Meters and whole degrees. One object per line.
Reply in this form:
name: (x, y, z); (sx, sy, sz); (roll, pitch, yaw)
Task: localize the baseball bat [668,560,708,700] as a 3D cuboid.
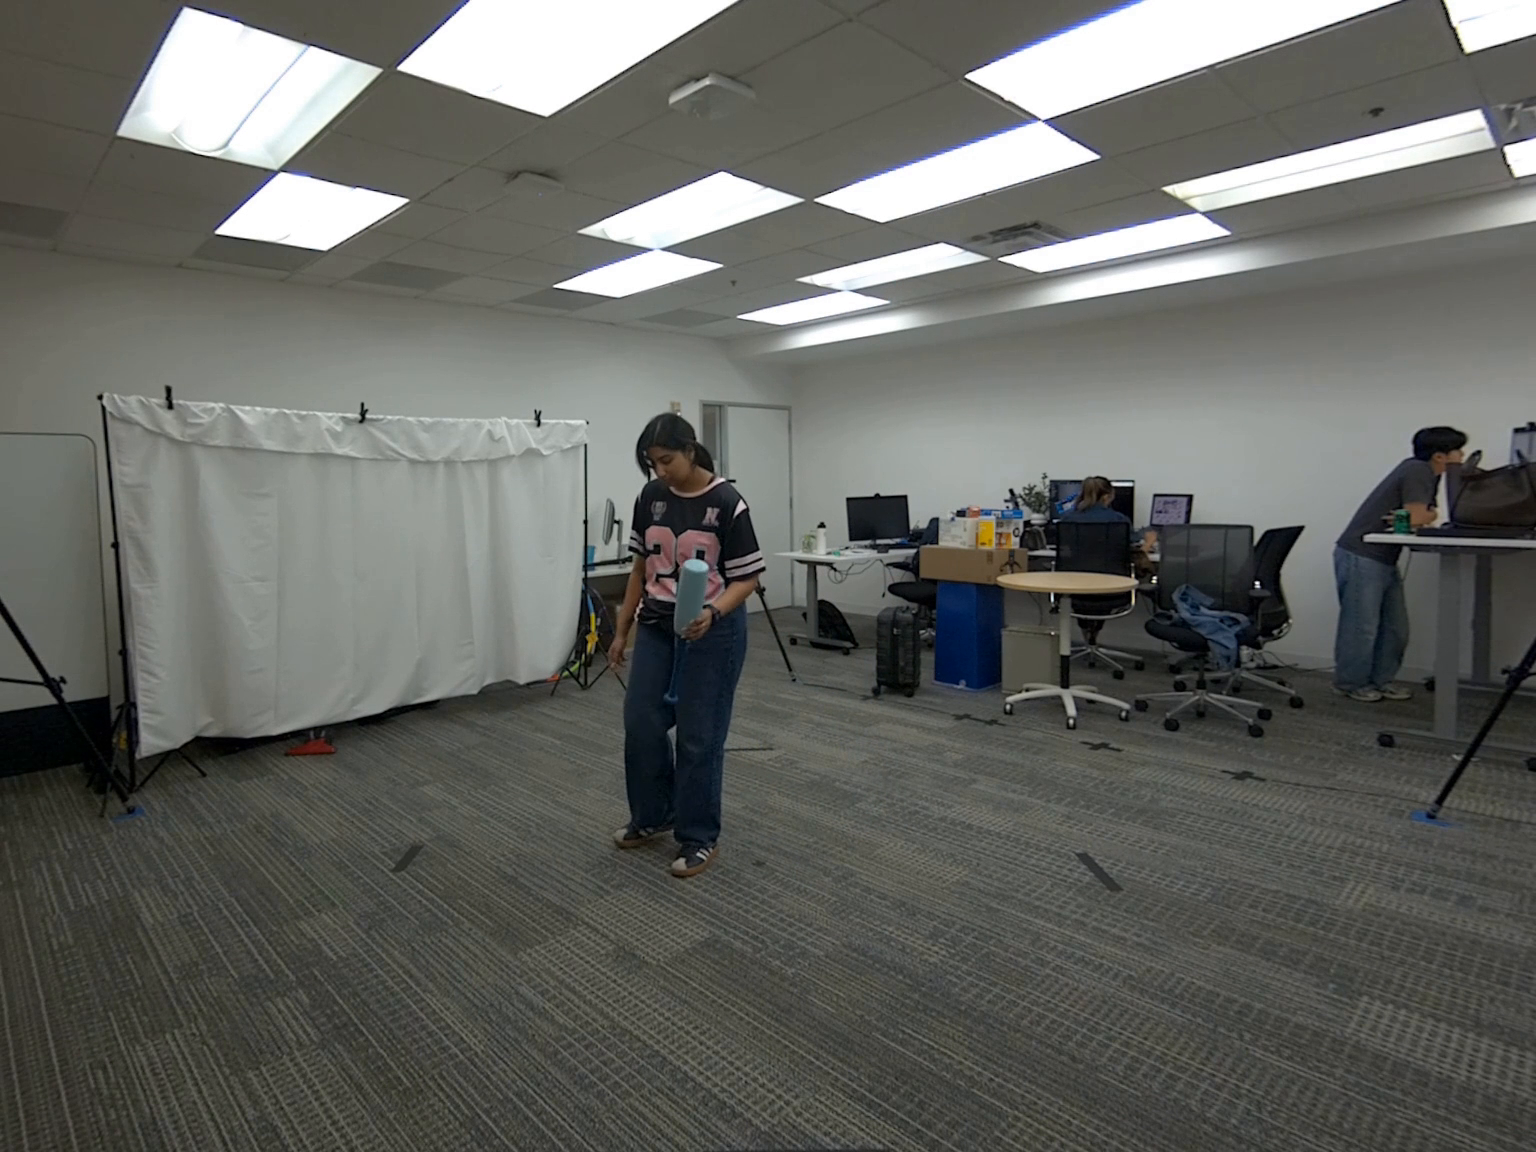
baseball bat: (-0.278, 0.207, 2.788); (0.088, 0.534, 0.091); (8, 26, -6)
